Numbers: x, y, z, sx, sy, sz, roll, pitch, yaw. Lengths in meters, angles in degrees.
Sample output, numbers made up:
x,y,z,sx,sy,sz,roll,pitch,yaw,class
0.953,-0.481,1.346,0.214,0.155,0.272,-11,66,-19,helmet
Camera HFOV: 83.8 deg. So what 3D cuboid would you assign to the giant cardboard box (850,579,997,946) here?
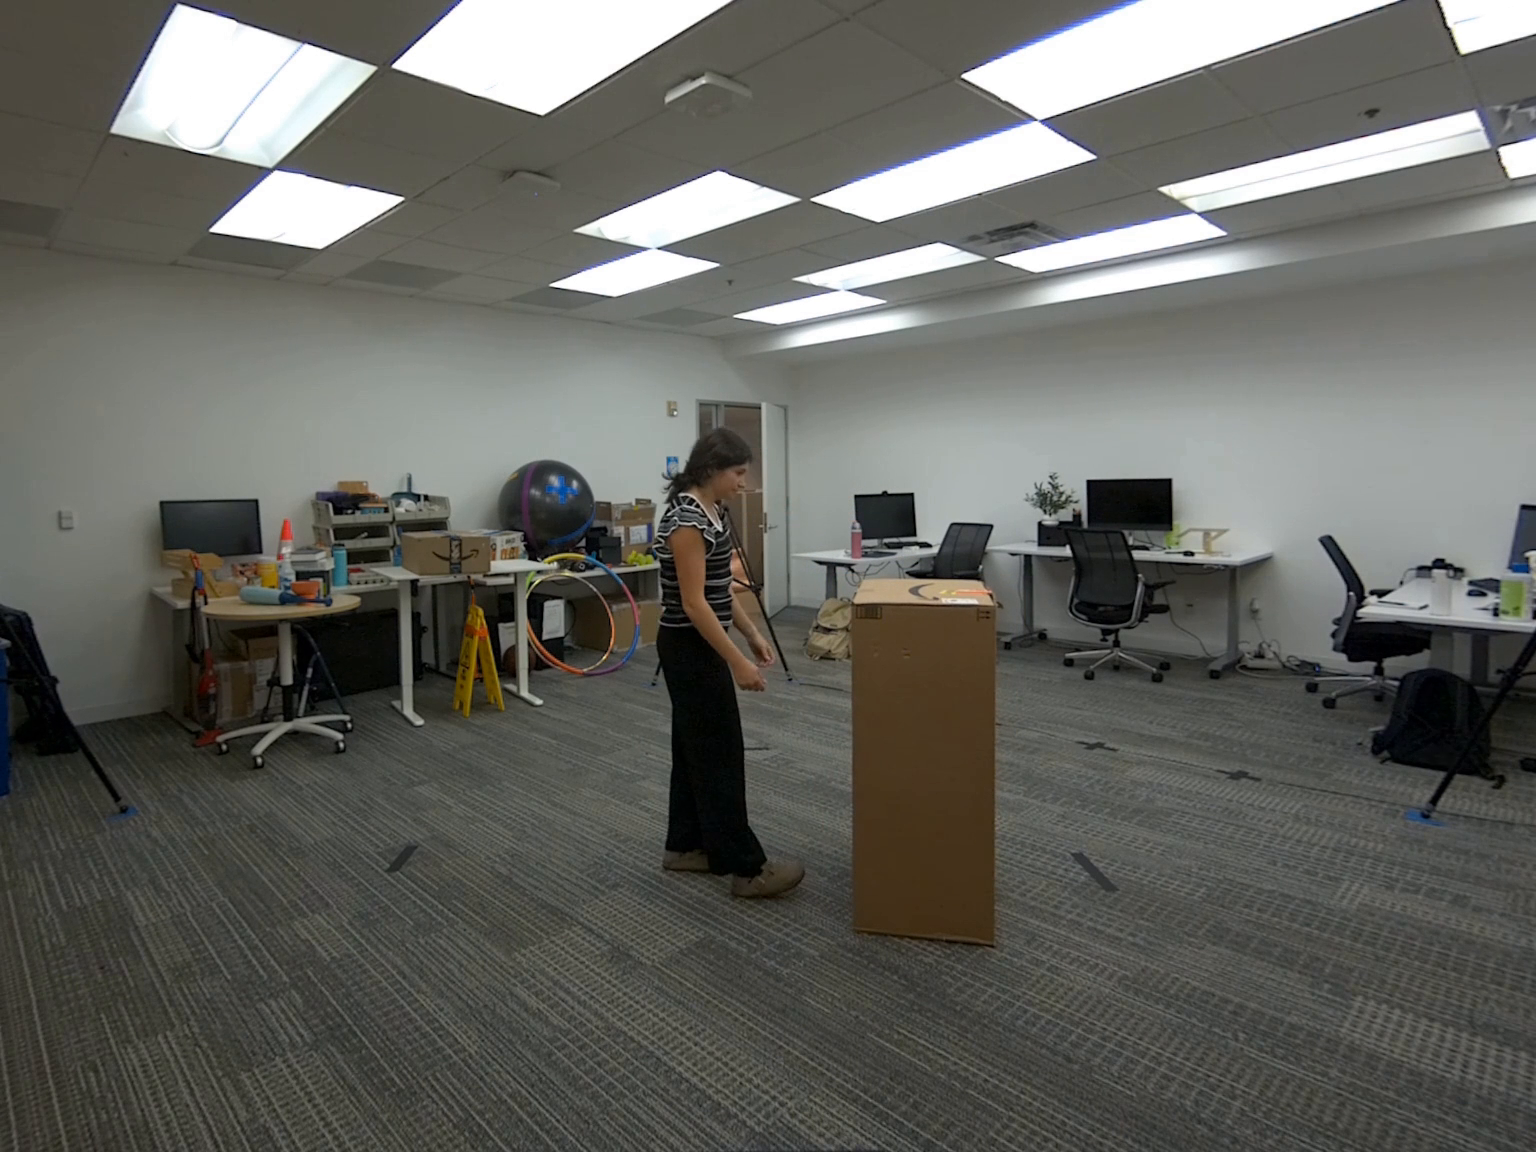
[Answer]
x,y,z,sx,sy,sz,roll,pitch,yaw,class
0.513,0.560,2.821,0.431,1.022,0.573,0,4,10,giant cardboard box
